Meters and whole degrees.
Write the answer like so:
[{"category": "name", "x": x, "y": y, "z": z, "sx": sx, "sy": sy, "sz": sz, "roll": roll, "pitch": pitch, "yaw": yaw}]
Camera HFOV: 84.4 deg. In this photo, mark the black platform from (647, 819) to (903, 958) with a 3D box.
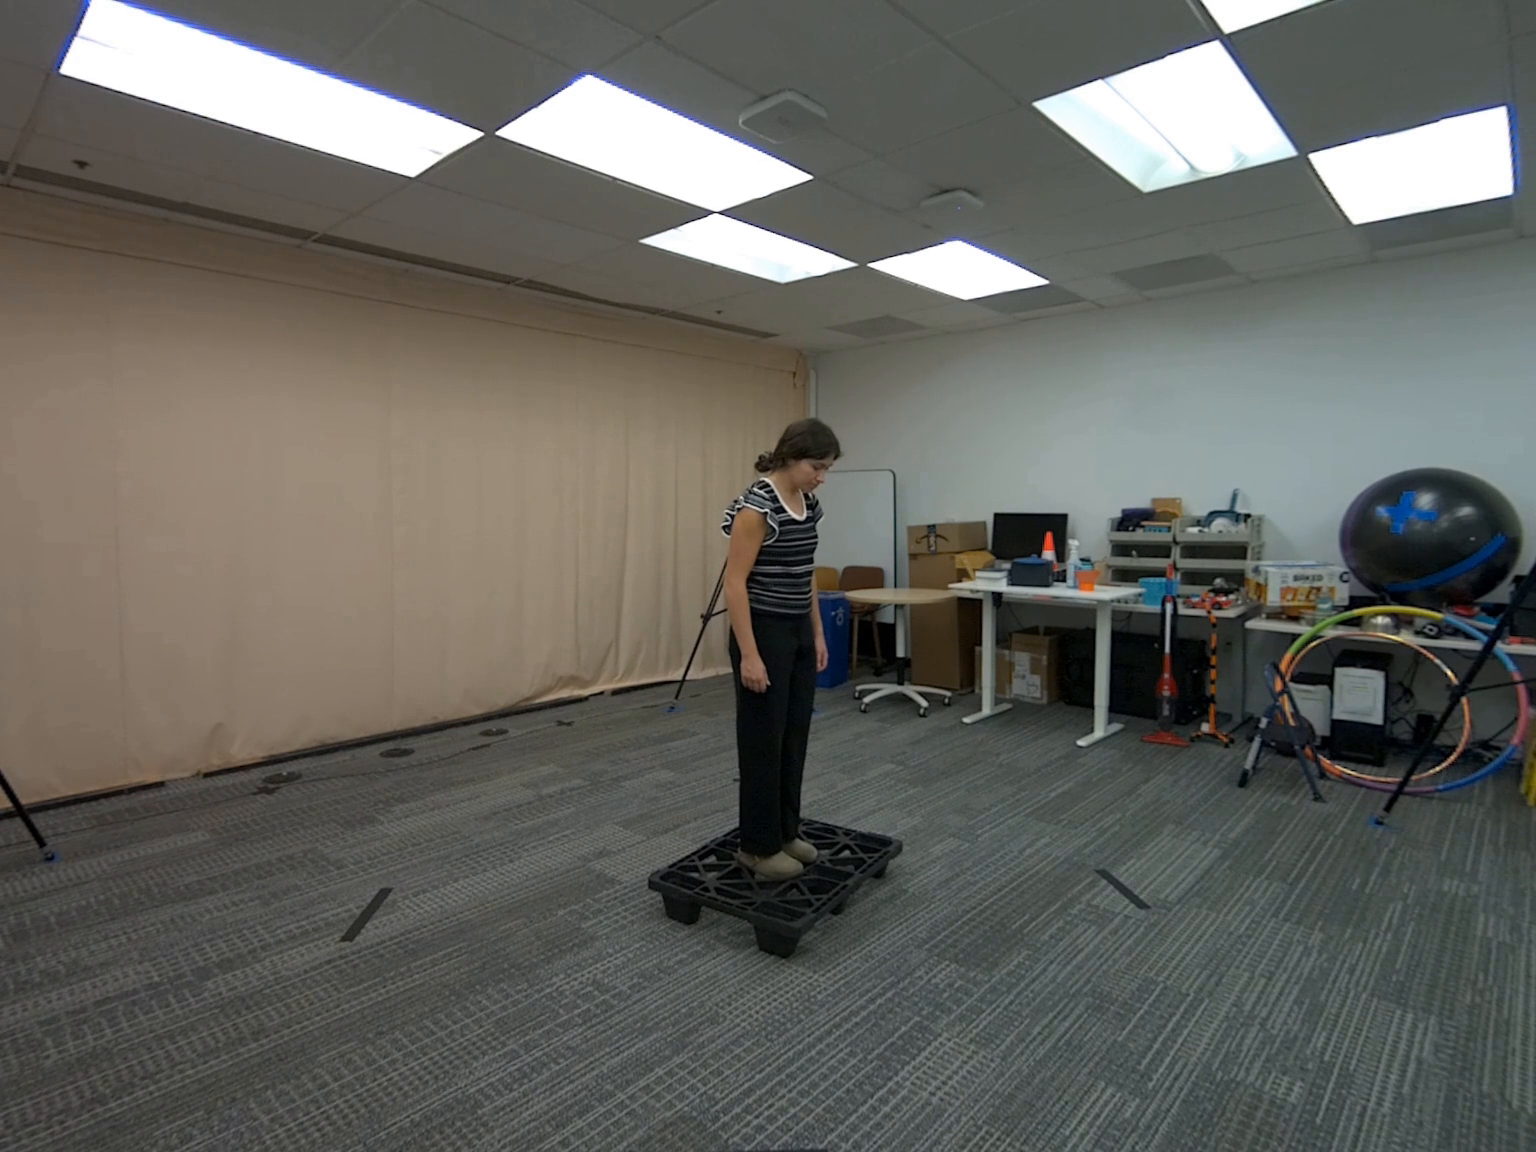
[{"category": "black platform", "x": 0.055, "y": 1.072, "z": 3.010, "sx": 0.624, "sy": 0.143, "sz": 0.783, "roll": 4, "pitch": 6, "yaw": 33}]
